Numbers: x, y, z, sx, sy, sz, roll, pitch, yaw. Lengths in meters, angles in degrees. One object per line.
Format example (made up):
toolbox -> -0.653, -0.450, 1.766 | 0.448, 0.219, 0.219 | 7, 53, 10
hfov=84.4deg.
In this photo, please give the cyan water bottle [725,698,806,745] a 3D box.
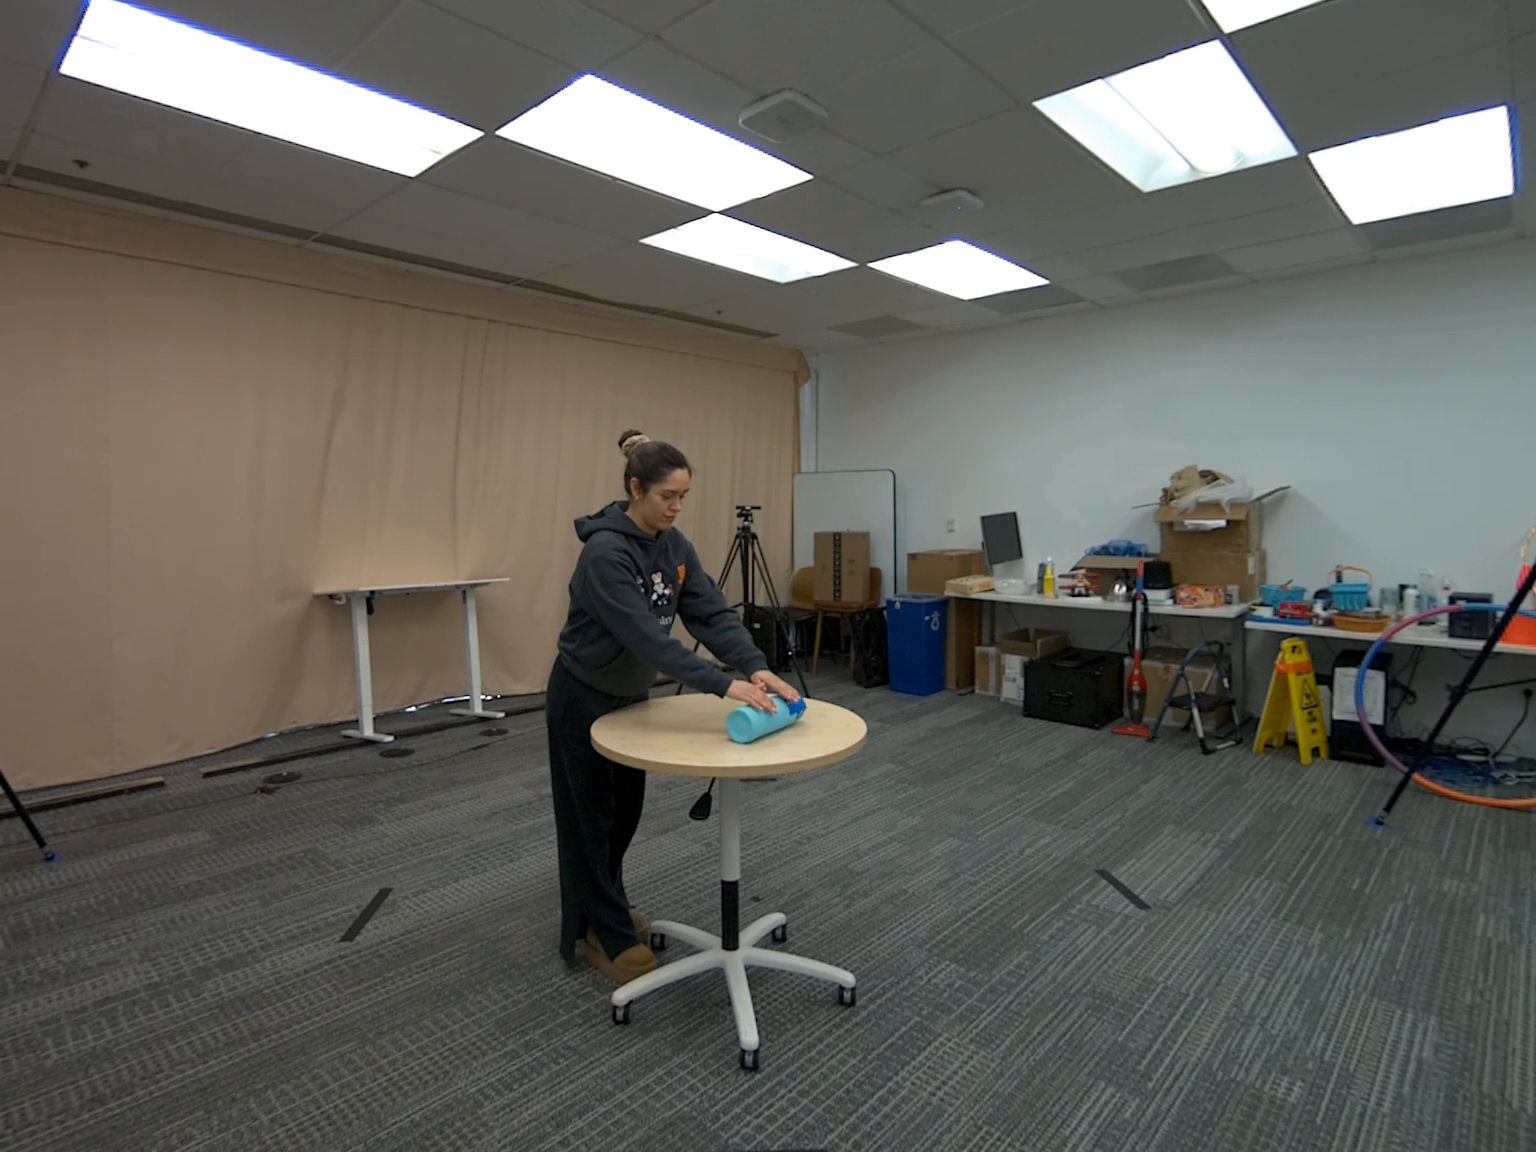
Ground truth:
cyan water bottle -> 0.009, 0.377, 2.269 | 0.095, 0.092, 0.276 | 2, 8, 32
